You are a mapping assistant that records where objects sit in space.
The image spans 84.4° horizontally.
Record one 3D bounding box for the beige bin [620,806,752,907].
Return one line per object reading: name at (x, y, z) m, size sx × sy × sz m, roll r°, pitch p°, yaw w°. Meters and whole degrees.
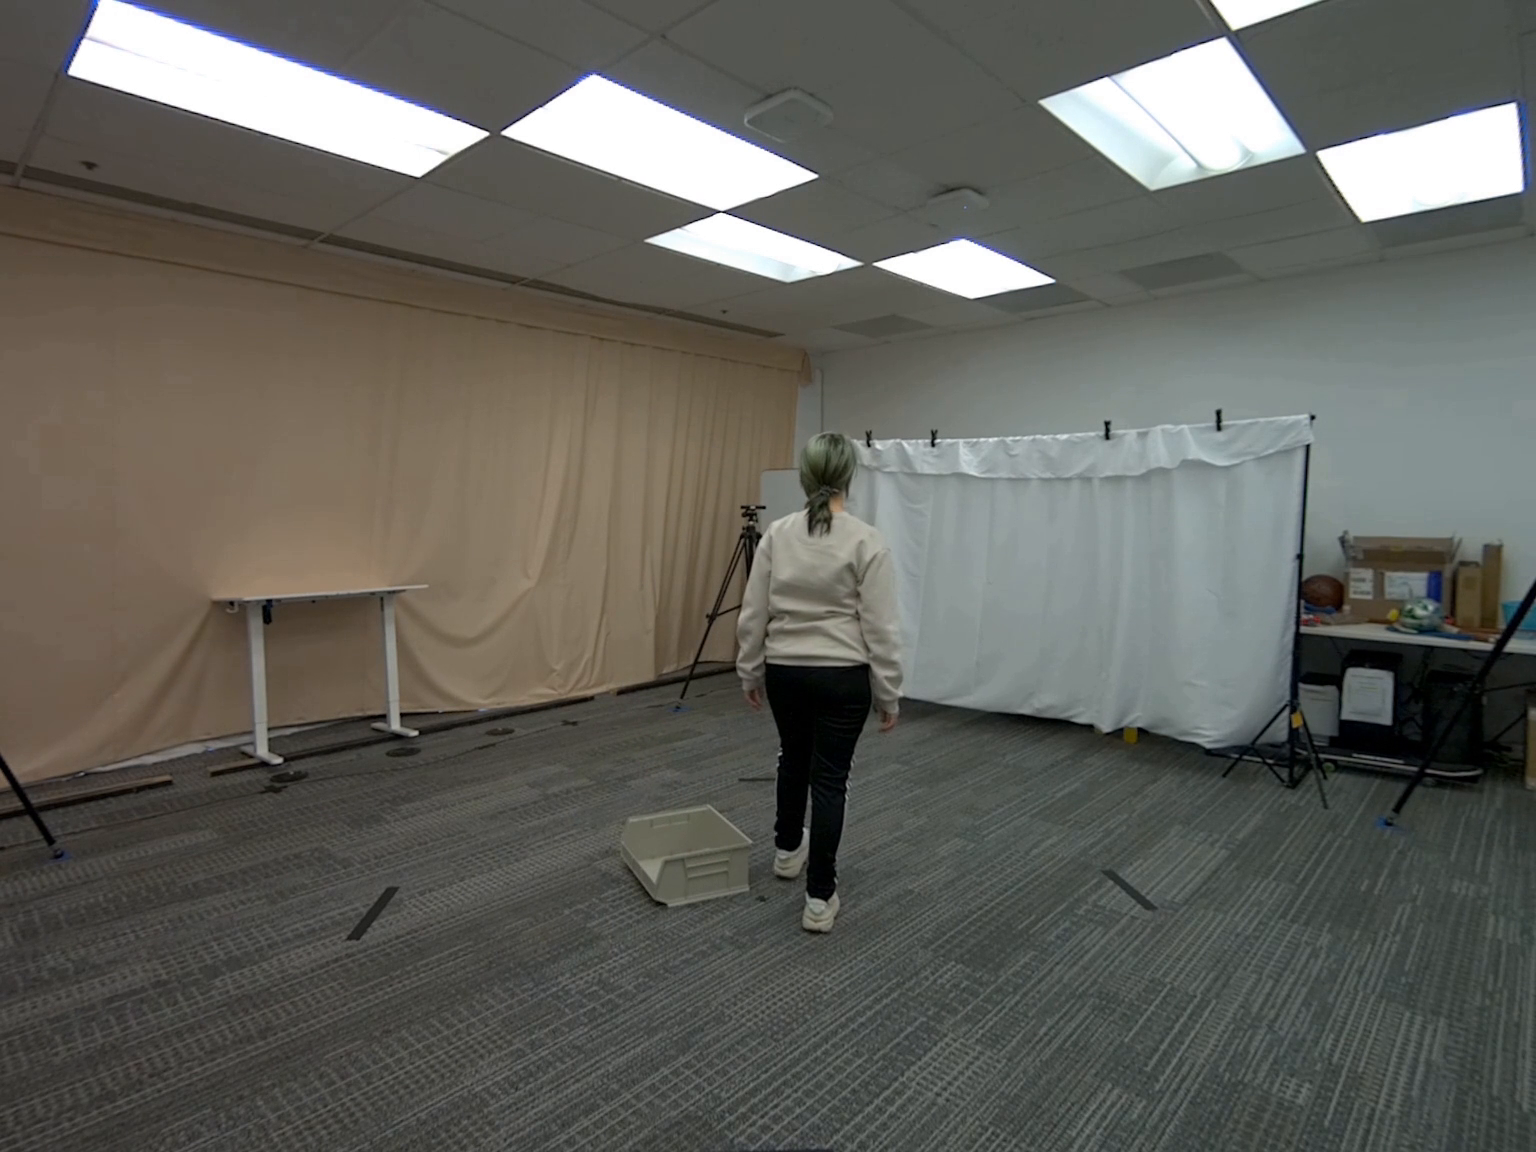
beige bin at (-0.315, 1.043, 3.159) m, size 0.368 × 0.188 × 0.433 m, roll -2°, pitch 4°, yaw -25°
